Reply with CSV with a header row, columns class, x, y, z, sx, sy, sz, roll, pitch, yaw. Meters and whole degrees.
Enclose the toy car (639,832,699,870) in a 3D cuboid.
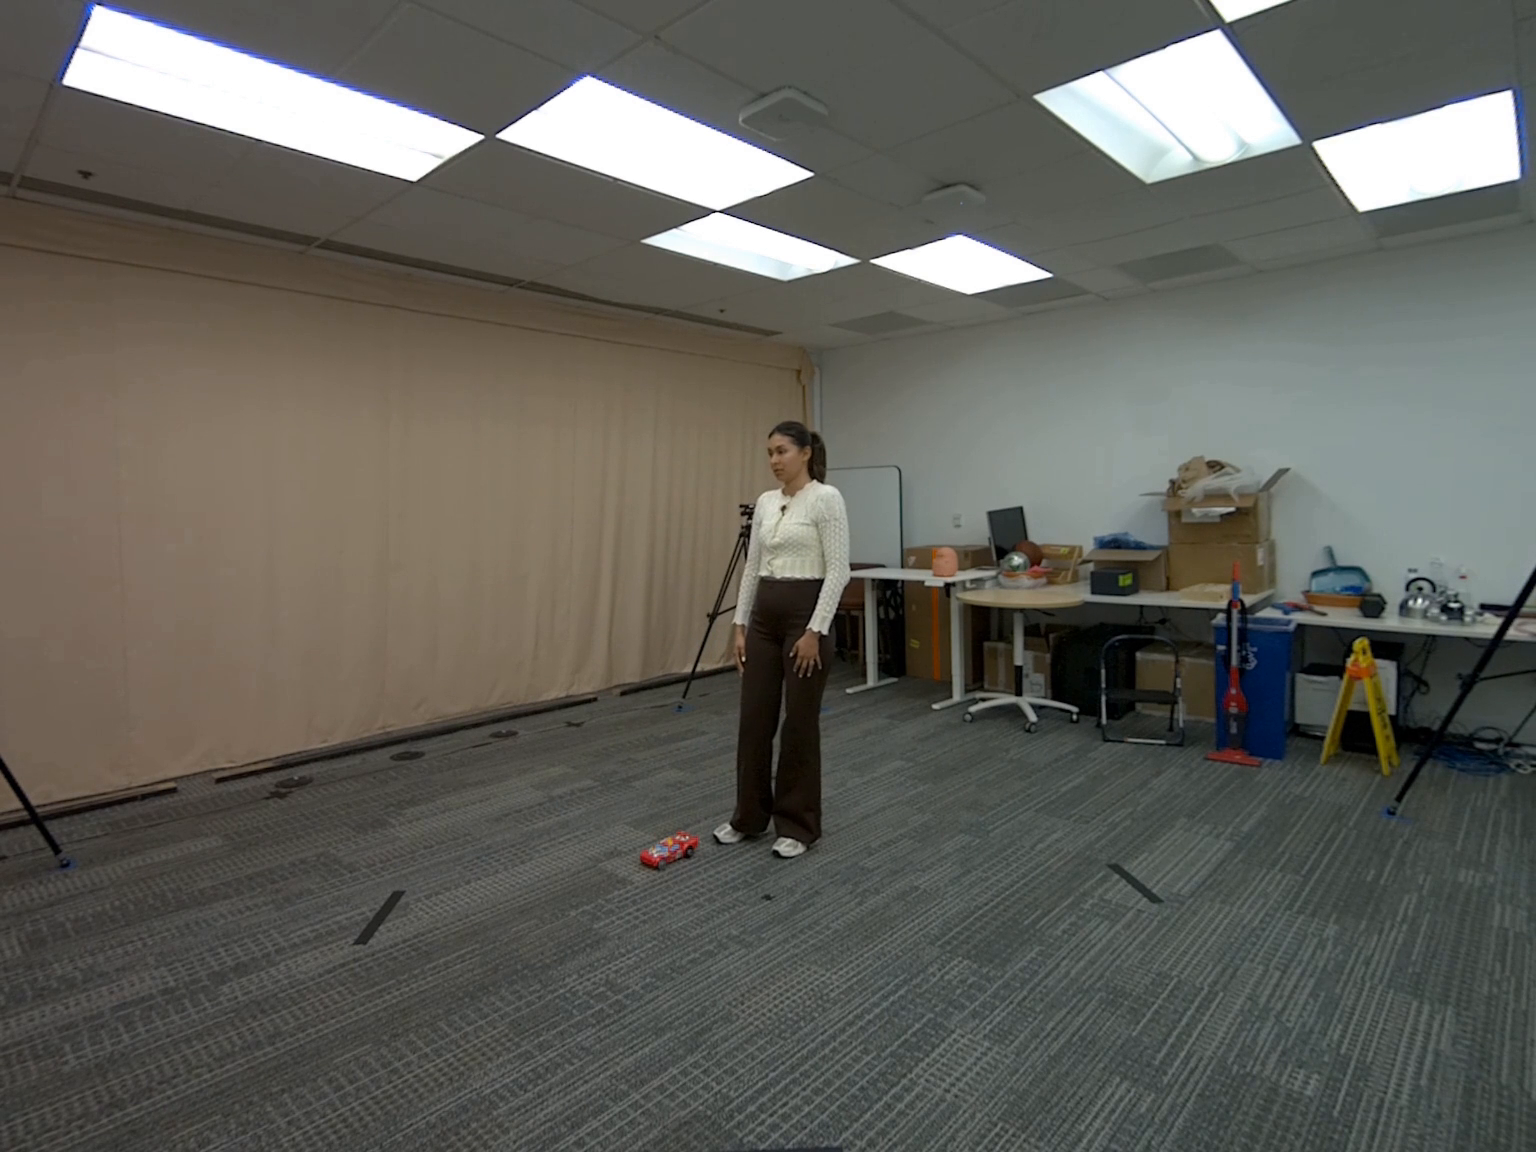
class,x,y,z,sx,sy,sz,roll,pitch,yaw
toy car,-0.385,1.089,3.323,0.134,0.082,0.248,2,16,44
